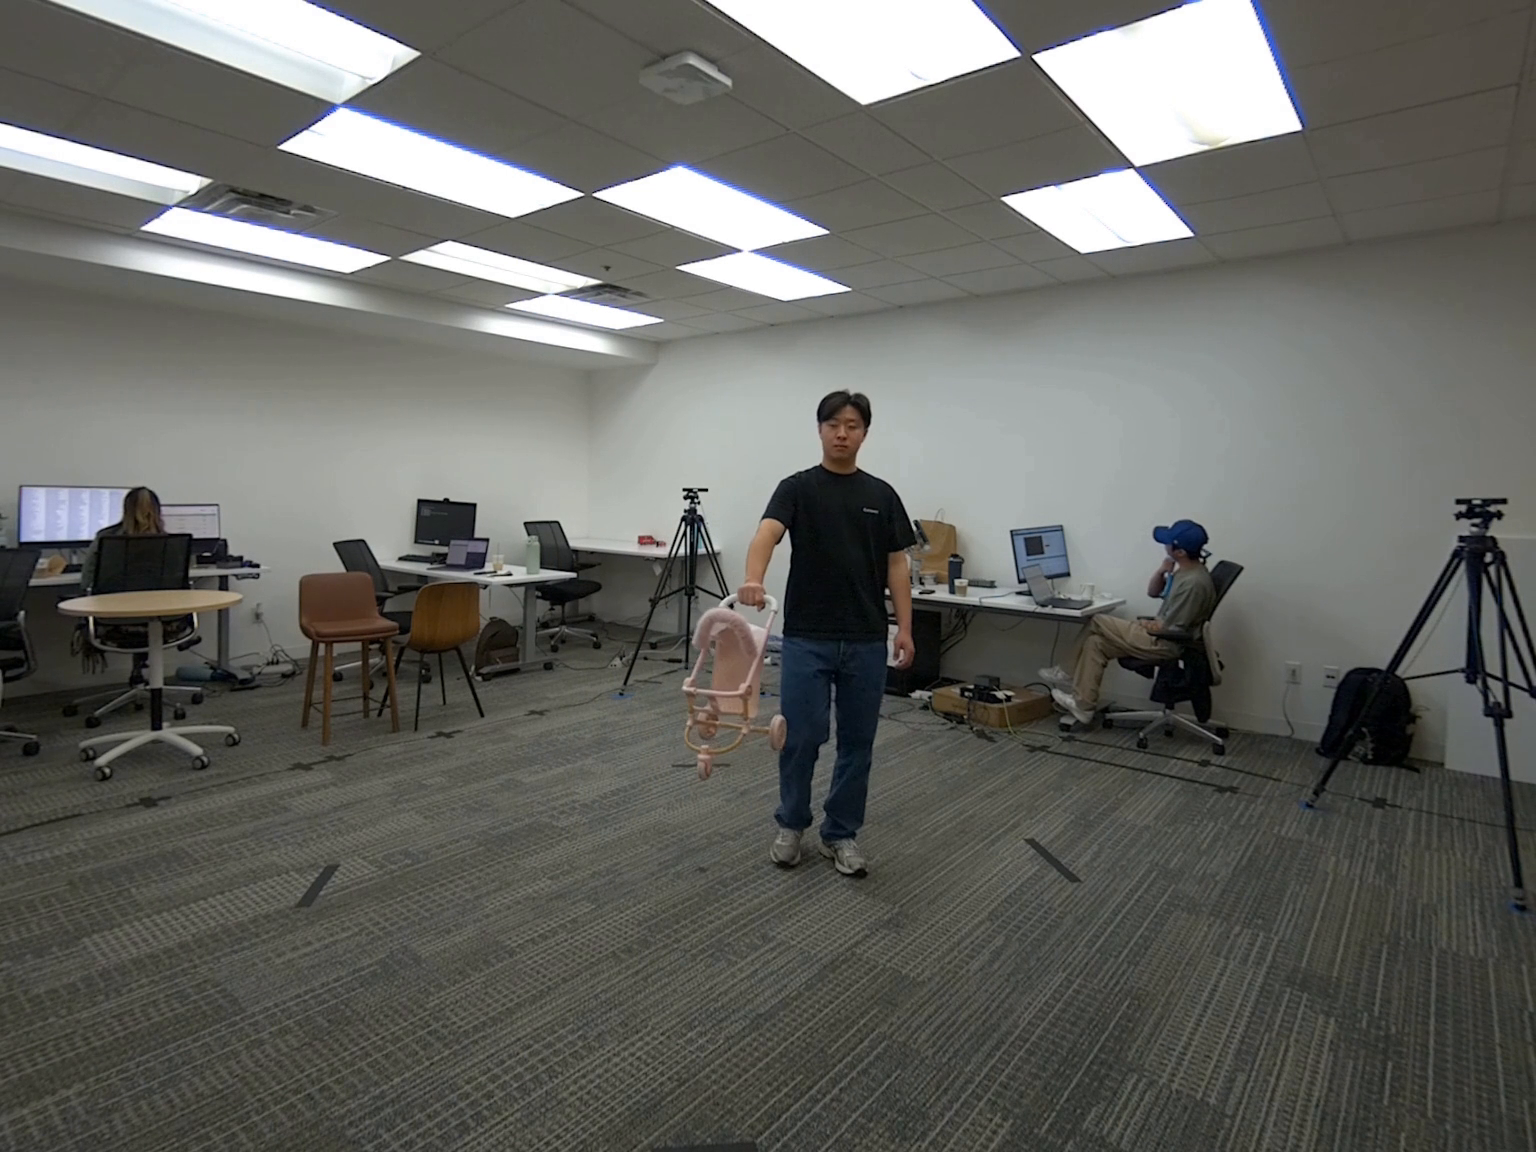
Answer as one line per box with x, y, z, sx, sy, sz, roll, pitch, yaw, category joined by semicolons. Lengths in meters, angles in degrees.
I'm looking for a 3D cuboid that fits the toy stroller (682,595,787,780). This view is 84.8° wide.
-0.131;0.332;2.632;0.289;0.535;0.332;2;0;29;toy stroller
